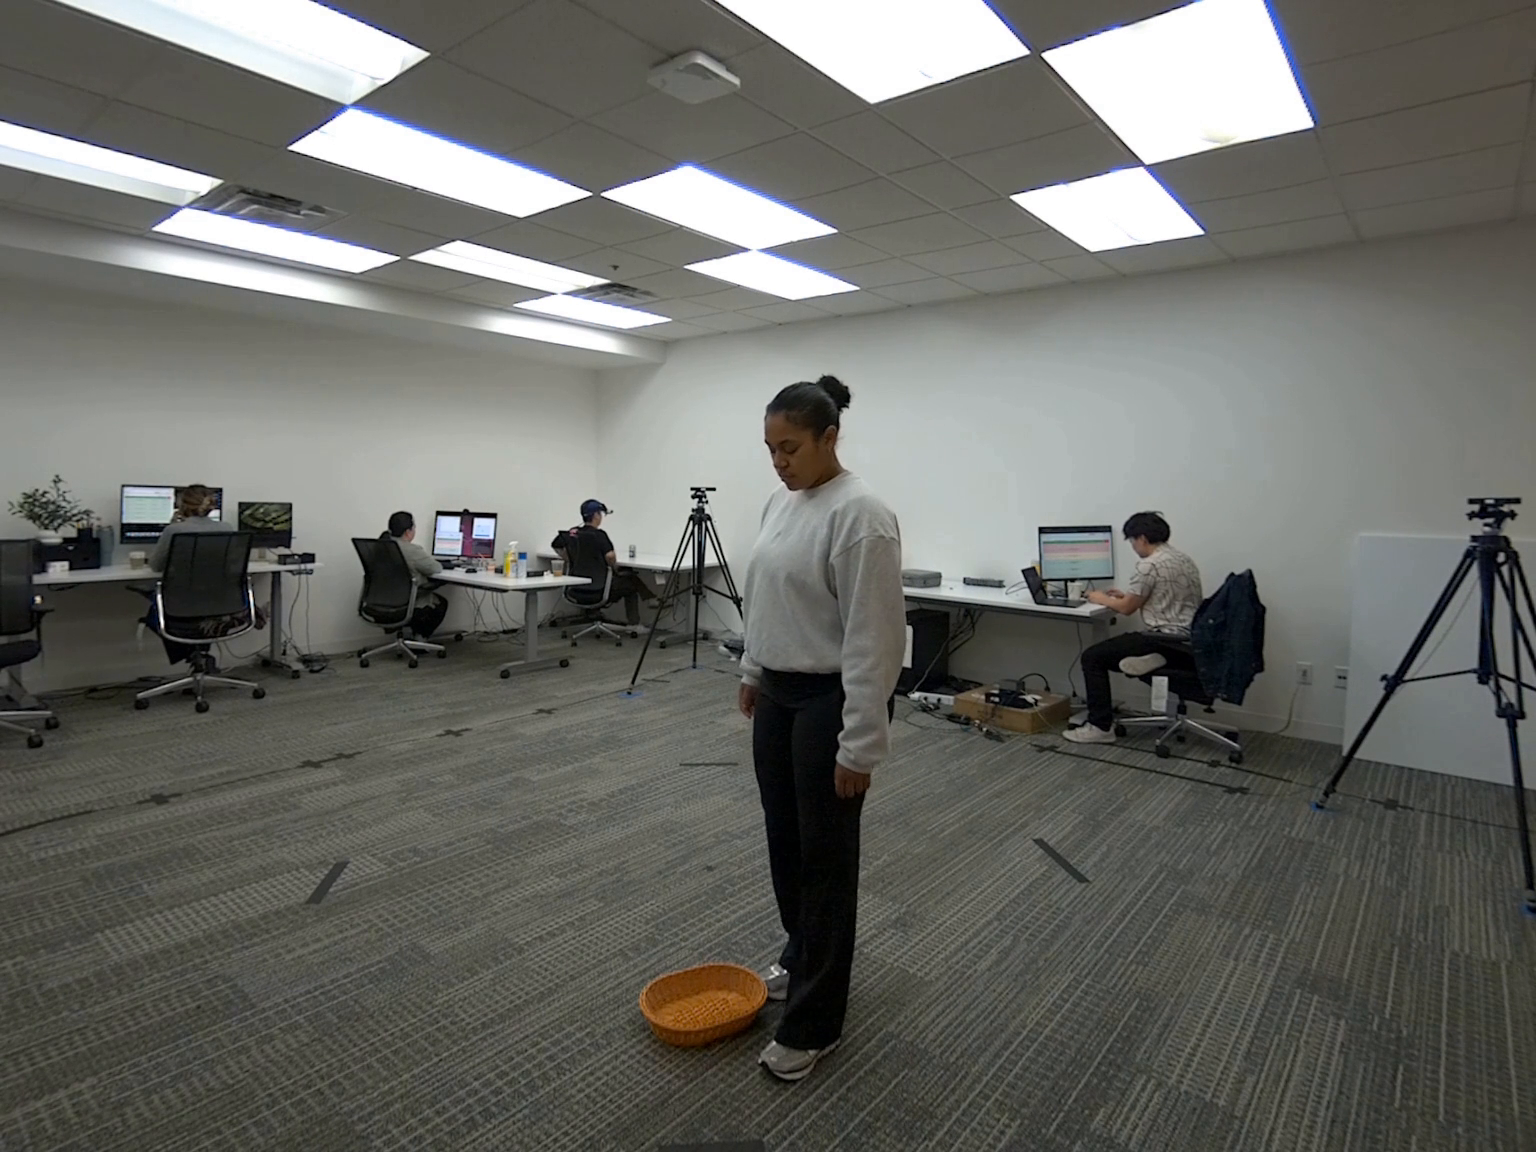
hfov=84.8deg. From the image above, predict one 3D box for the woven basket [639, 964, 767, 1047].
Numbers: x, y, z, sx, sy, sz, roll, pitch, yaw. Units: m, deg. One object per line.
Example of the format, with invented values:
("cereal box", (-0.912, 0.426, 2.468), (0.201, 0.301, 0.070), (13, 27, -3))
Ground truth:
("woven basket", (-0.184, 1.119, 2.228), (0.342, 0.073, 0.260), (-1, 6, -27))
